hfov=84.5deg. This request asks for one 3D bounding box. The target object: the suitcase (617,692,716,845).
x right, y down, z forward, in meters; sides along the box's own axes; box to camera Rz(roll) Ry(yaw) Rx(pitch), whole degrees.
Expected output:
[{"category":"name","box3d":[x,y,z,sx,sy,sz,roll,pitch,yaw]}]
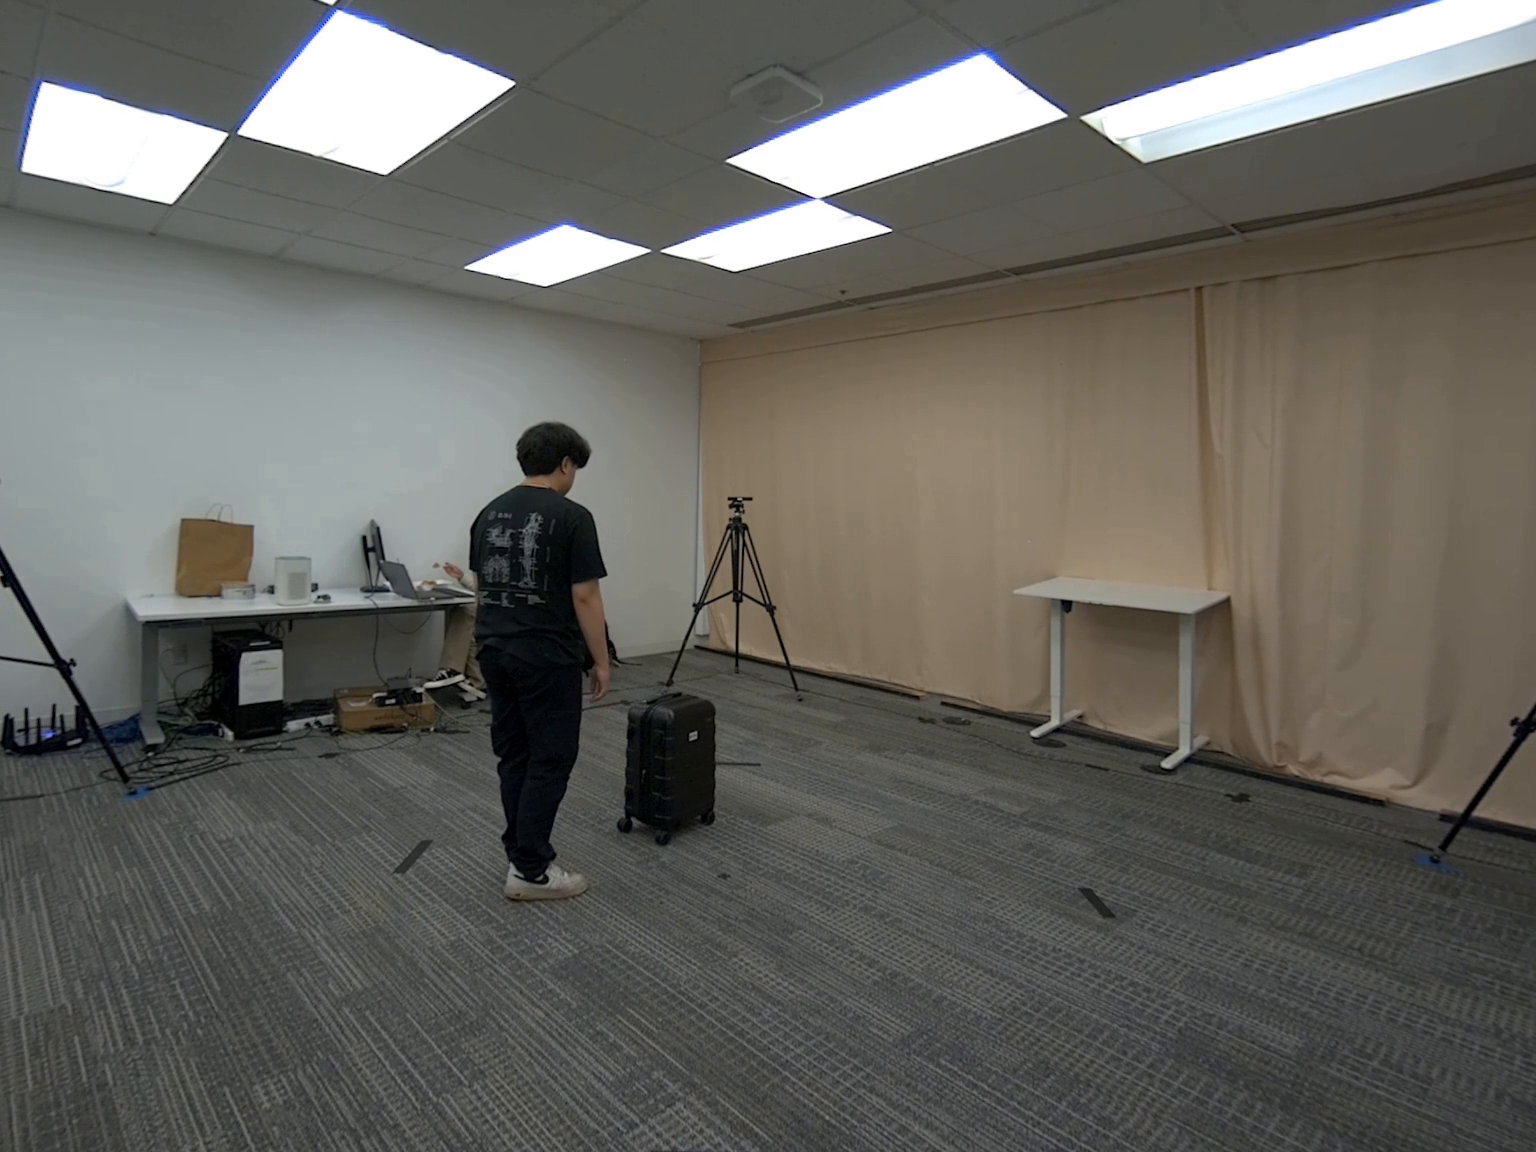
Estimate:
[{"category":"suitcase","box3d":[-0.419,0.786,3.565,0.254,0.549,0.367,4,2,33]}]
